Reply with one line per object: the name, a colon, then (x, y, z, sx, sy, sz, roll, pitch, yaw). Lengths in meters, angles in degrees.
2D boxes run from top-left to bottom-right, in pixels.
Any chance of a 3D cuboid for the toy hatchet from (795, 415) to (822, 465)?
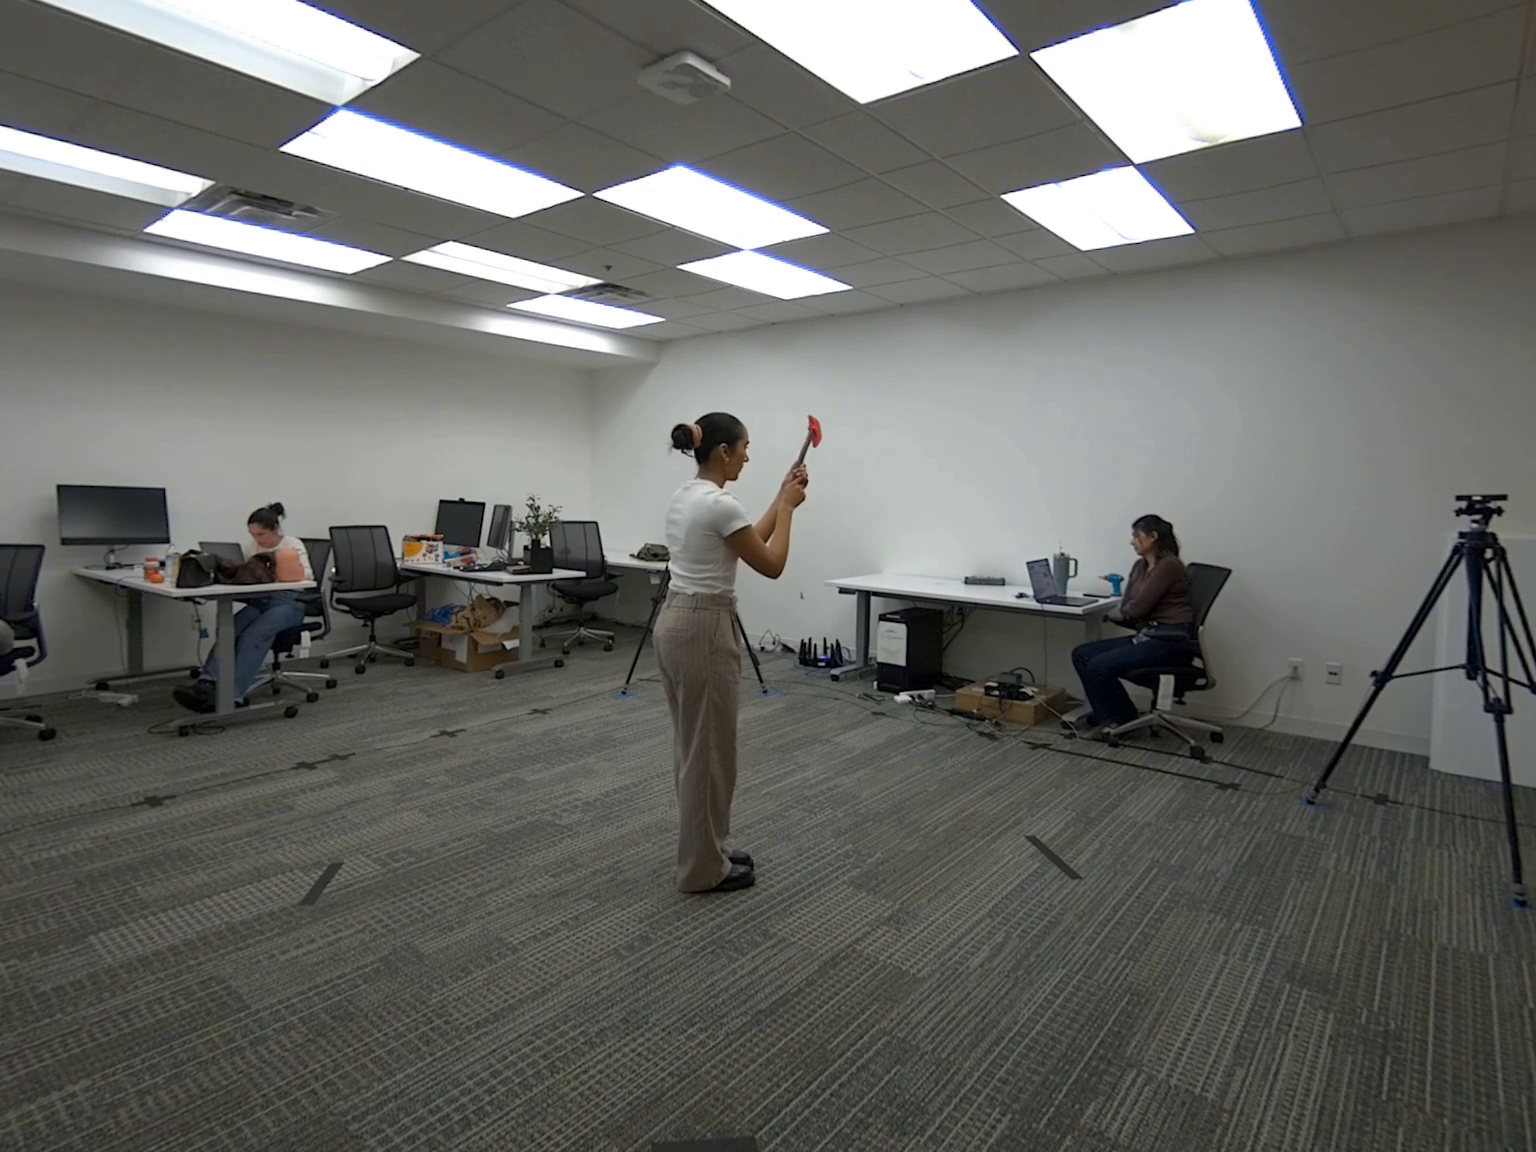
toy hatchet: (0.136, -0.435, 3.063, 0.030, 0.272, 0.126, 6, -15, 28)
